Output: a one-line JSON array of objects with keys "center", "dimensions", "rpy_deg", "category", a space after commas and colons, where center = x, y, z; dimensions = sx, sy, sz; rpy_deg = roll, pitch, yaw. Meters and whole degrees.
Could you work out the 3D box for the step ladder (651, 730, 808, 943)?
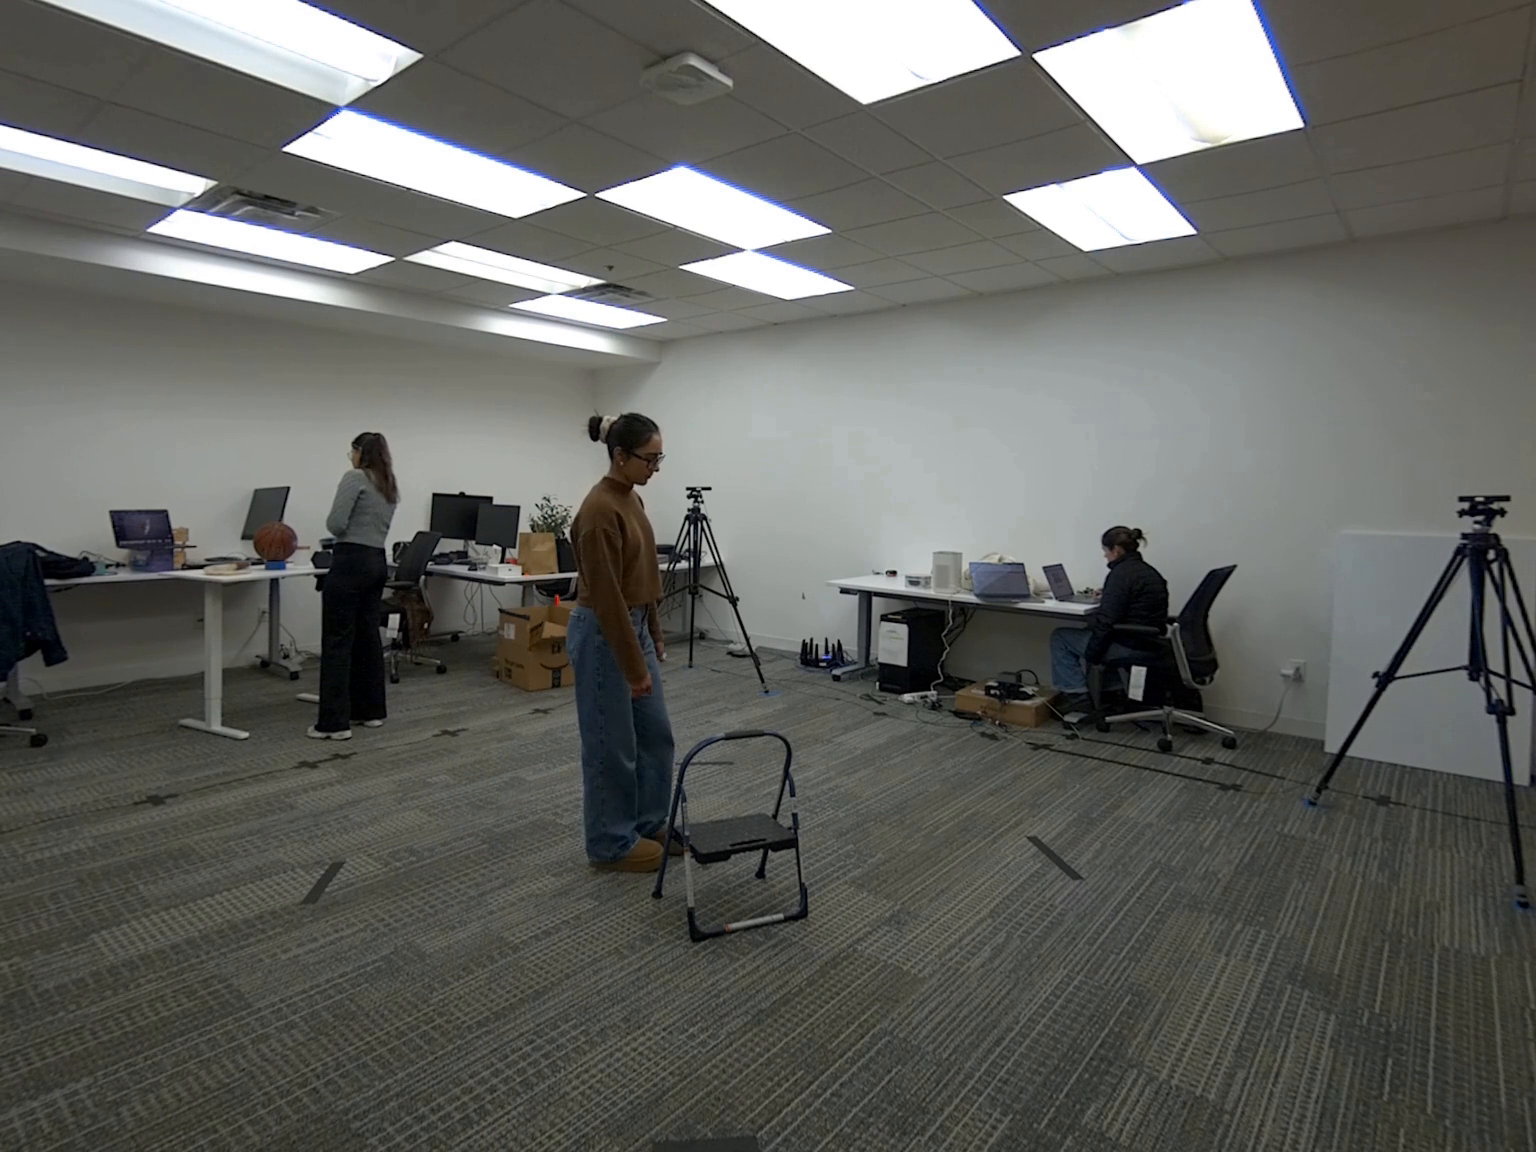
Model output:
[{"center": [-0.133, 0.796, 2.815], "dimensions": [0.420, 0.604, 0.359], "rpy_deg": [-1, 3, -27], "category": "step ladder"}]
